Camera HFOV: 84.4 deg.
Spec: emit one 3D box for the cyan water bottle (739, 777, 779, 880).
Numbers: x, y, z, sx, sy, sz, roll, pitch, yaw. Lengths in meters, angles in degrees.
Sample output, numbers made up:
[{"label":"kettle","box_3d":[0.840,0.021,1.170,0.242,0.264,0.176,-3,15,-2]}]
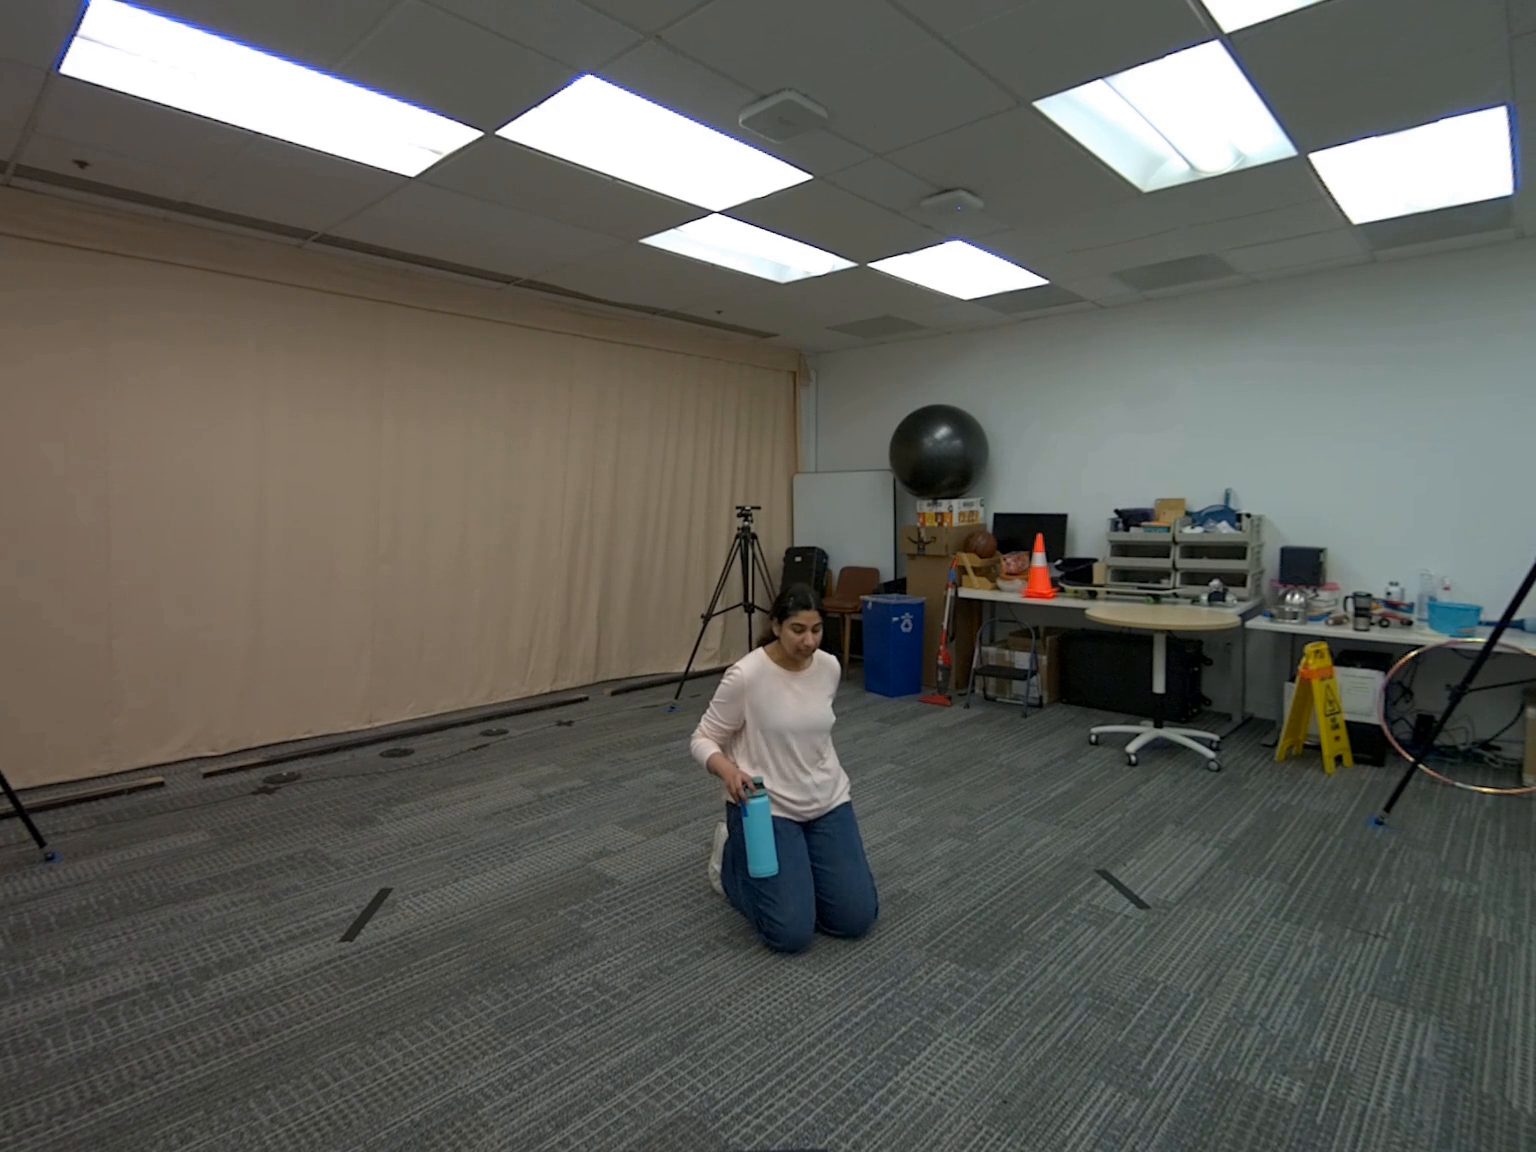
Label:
[{"label":"cyan water bottle","box_3d":[-0.028,0.748,2.560,0.092,0.285,0.092,-7,-6,-2]}]
